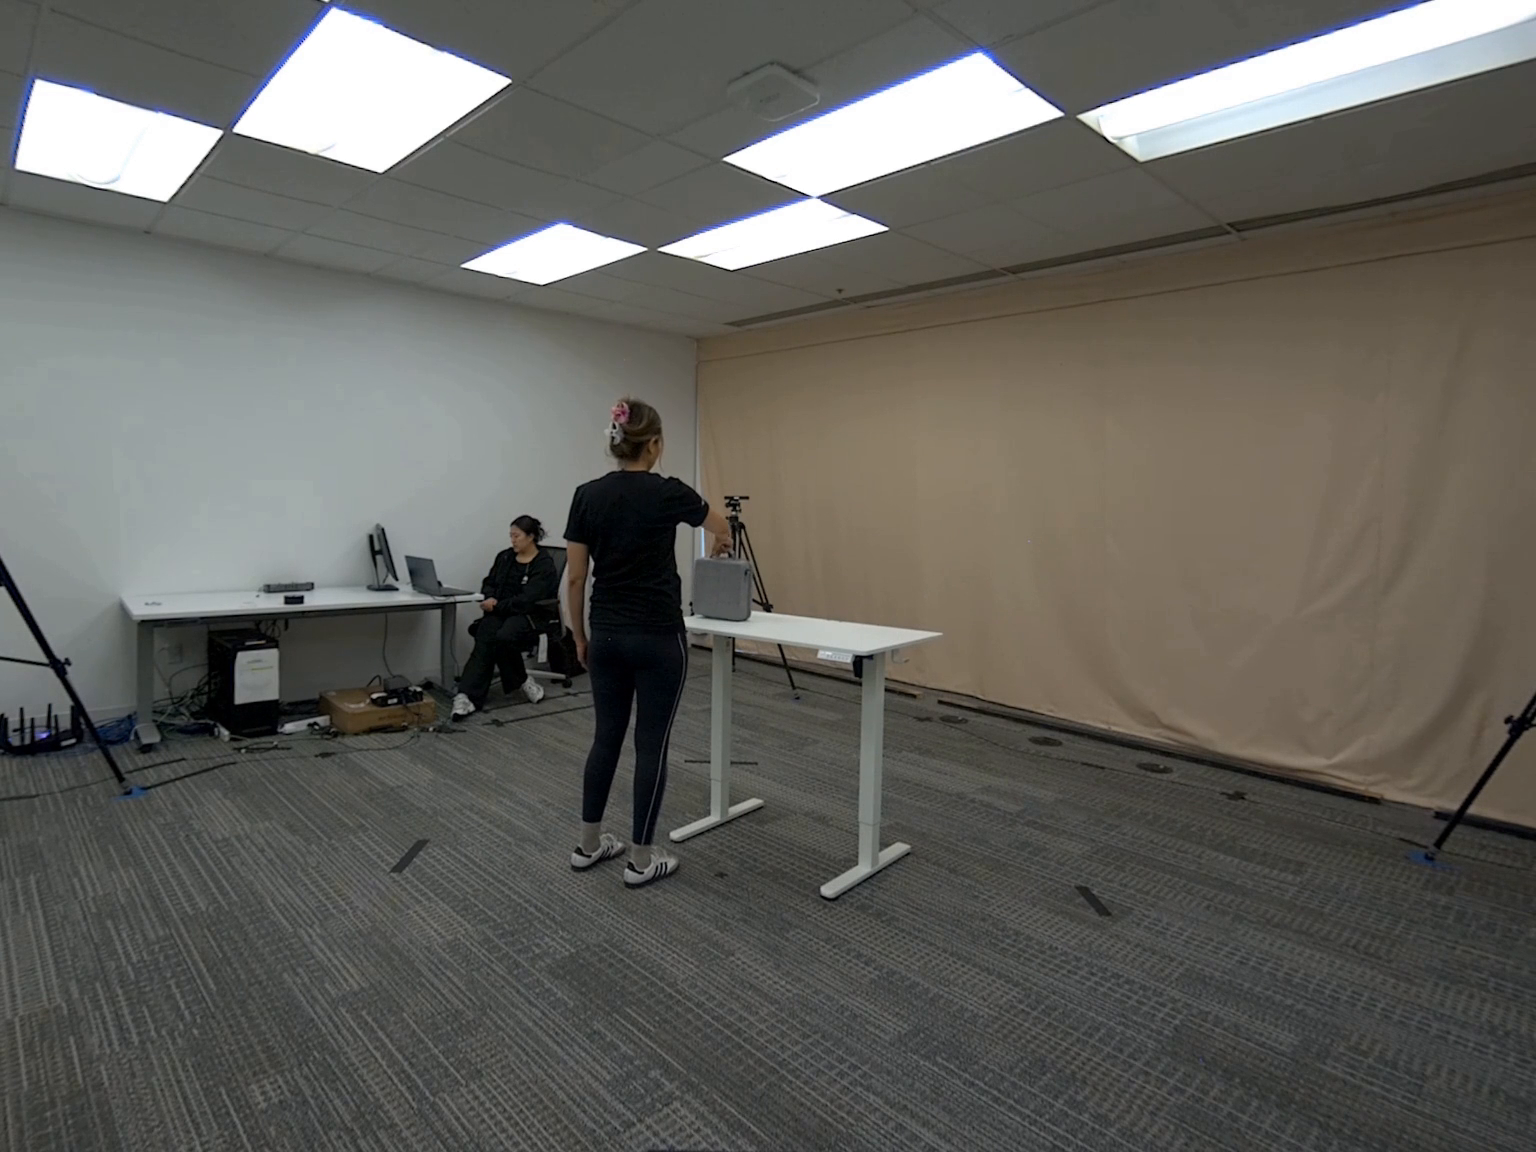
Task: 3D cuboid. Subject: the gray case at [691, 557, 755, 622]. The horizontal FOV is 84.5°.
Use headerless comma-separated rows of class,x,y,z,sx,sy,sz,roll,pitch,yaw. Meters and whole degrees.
gray case,-0.193,0.048,3.557,0.263,0.260,0.102,5,6,33
